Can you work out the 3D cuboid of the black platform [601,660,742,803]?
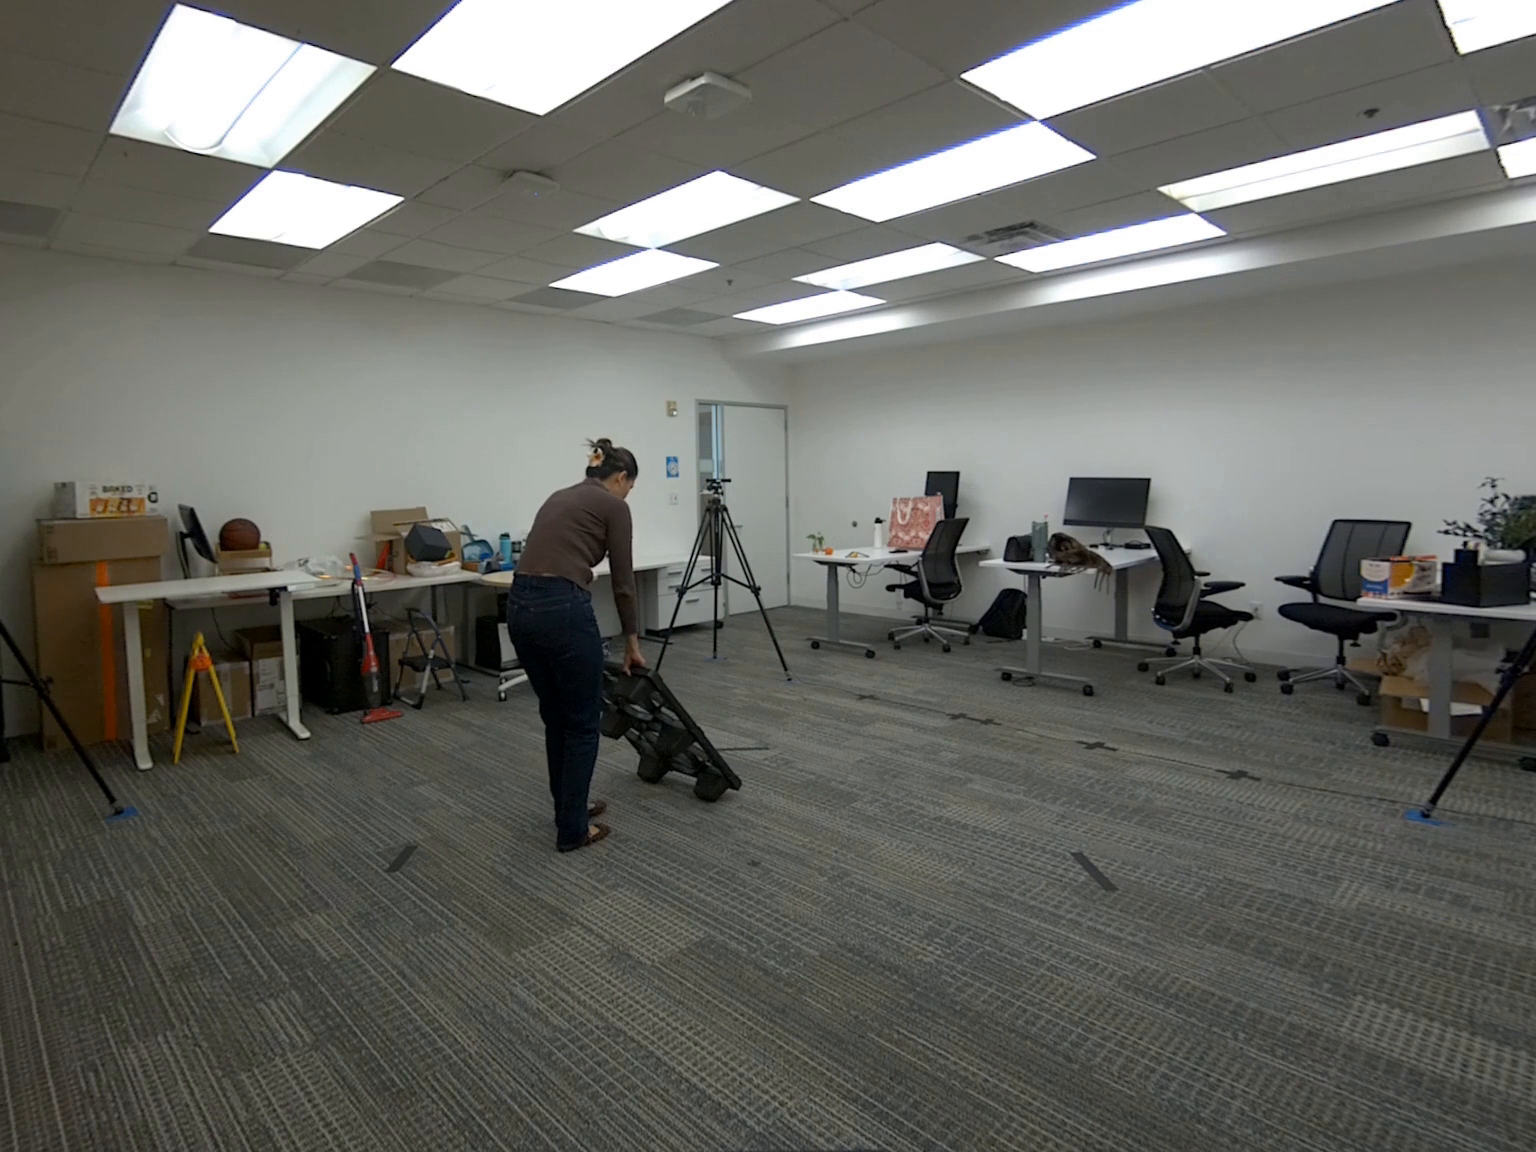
[{"bbox_3d":[-0.544,0.664,3.706,0.623,0.778,0.144,2,45,41],"label":"black platform"}]
